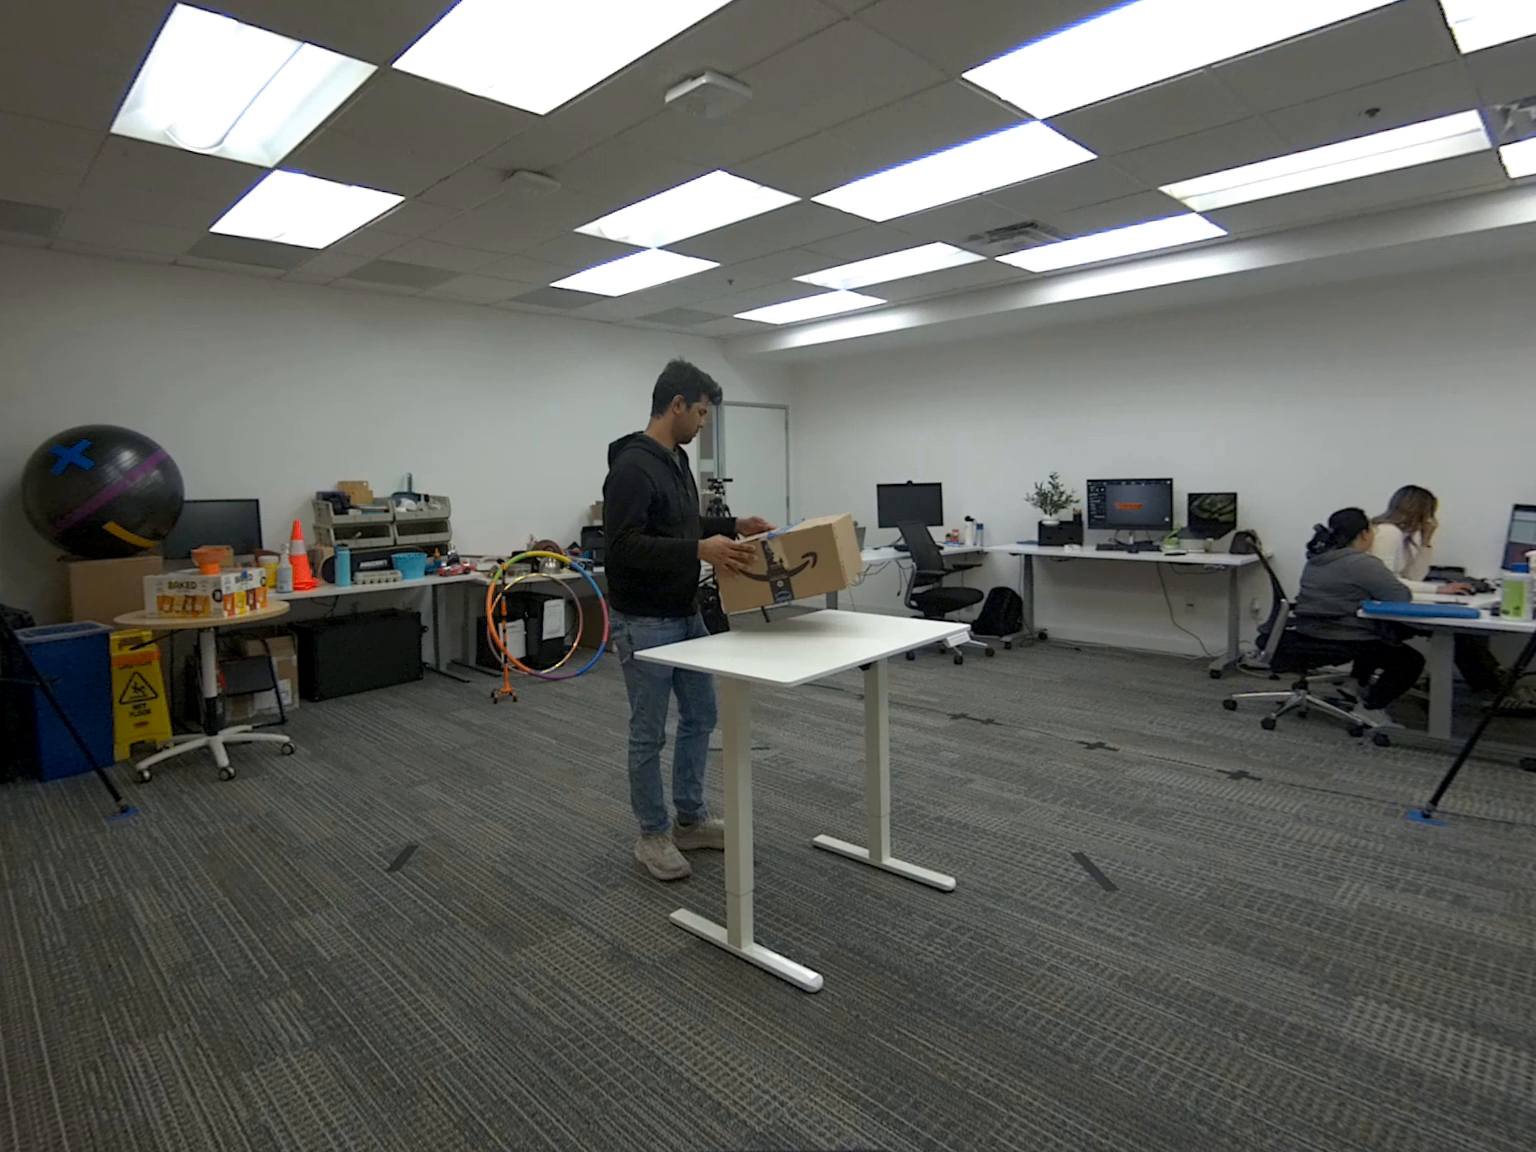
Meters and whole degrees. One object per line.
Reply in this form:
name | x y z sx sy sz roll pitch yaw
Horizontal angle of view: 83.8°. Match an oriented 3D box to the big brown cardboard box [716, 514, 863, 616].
big brown cardboard box | 0.075 -0.053 3.039 0.422 0.232 0.585 -11 6 13
